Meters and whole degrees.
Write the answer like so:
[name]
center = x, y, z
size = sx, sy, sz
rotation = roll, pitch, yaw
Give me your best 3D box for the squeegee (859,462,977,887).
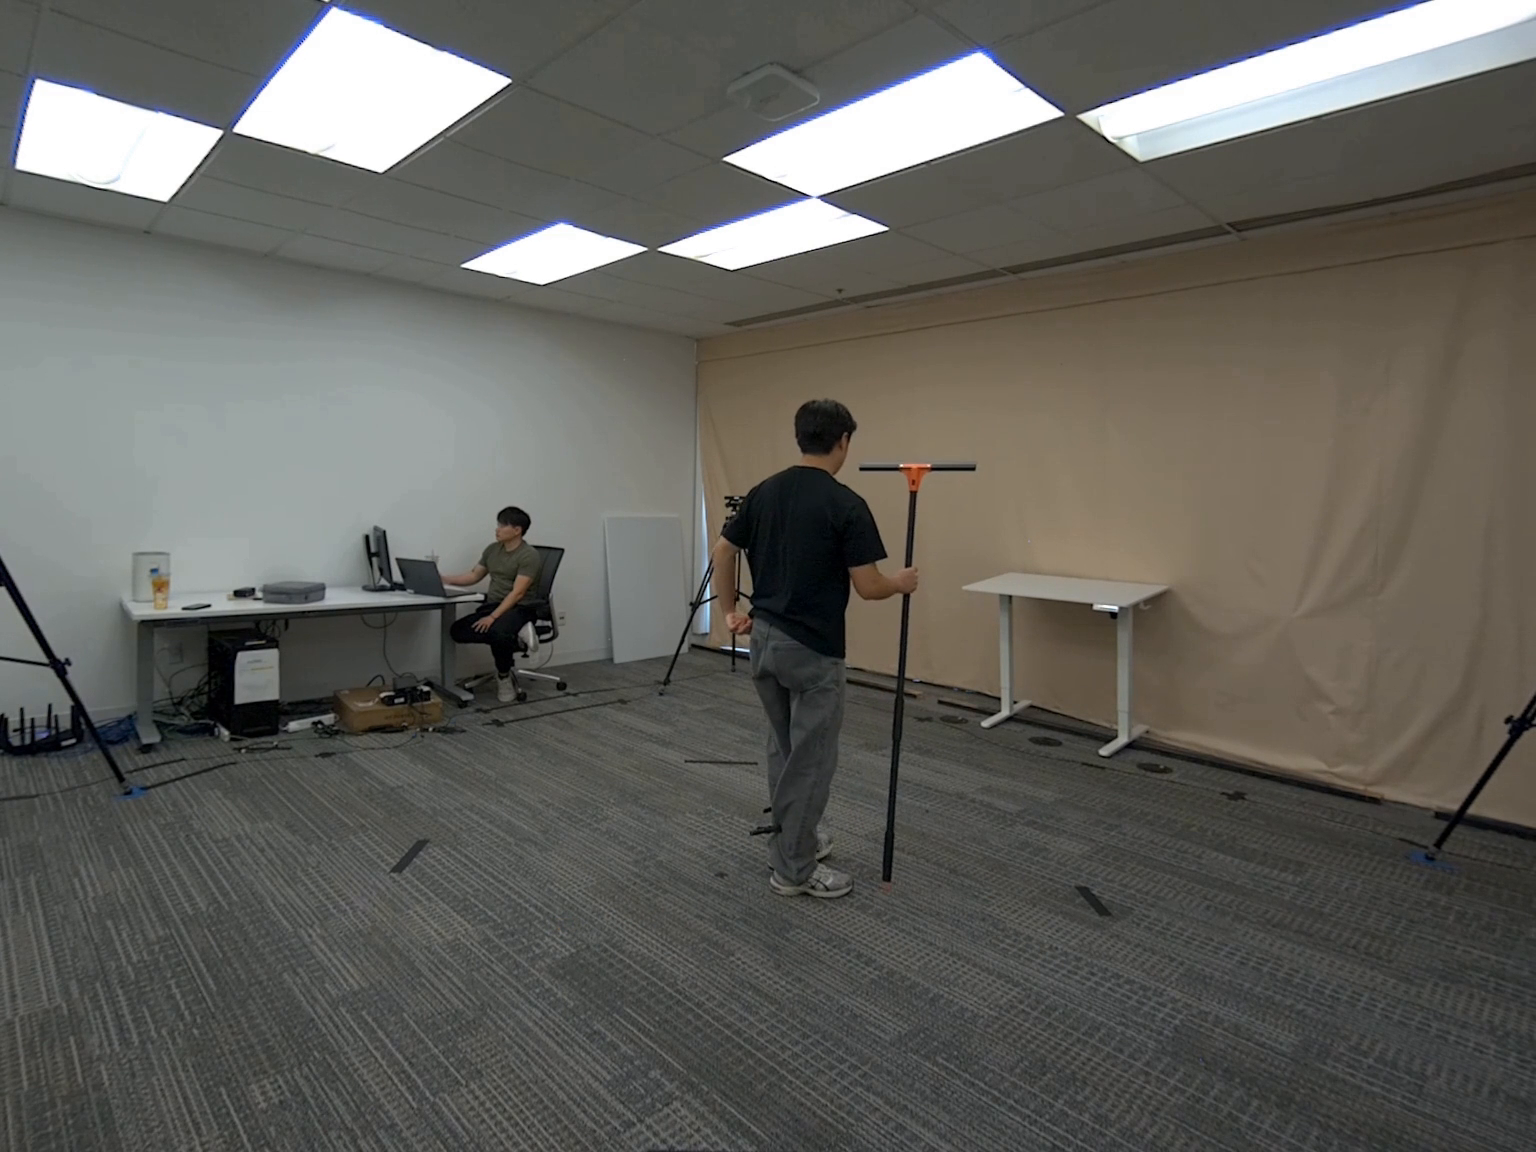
[squeegee]
center = 0.489, 0.321, 3.046
size = 0.446, 1.547, 0.051
rotation = 1, -10, 26
